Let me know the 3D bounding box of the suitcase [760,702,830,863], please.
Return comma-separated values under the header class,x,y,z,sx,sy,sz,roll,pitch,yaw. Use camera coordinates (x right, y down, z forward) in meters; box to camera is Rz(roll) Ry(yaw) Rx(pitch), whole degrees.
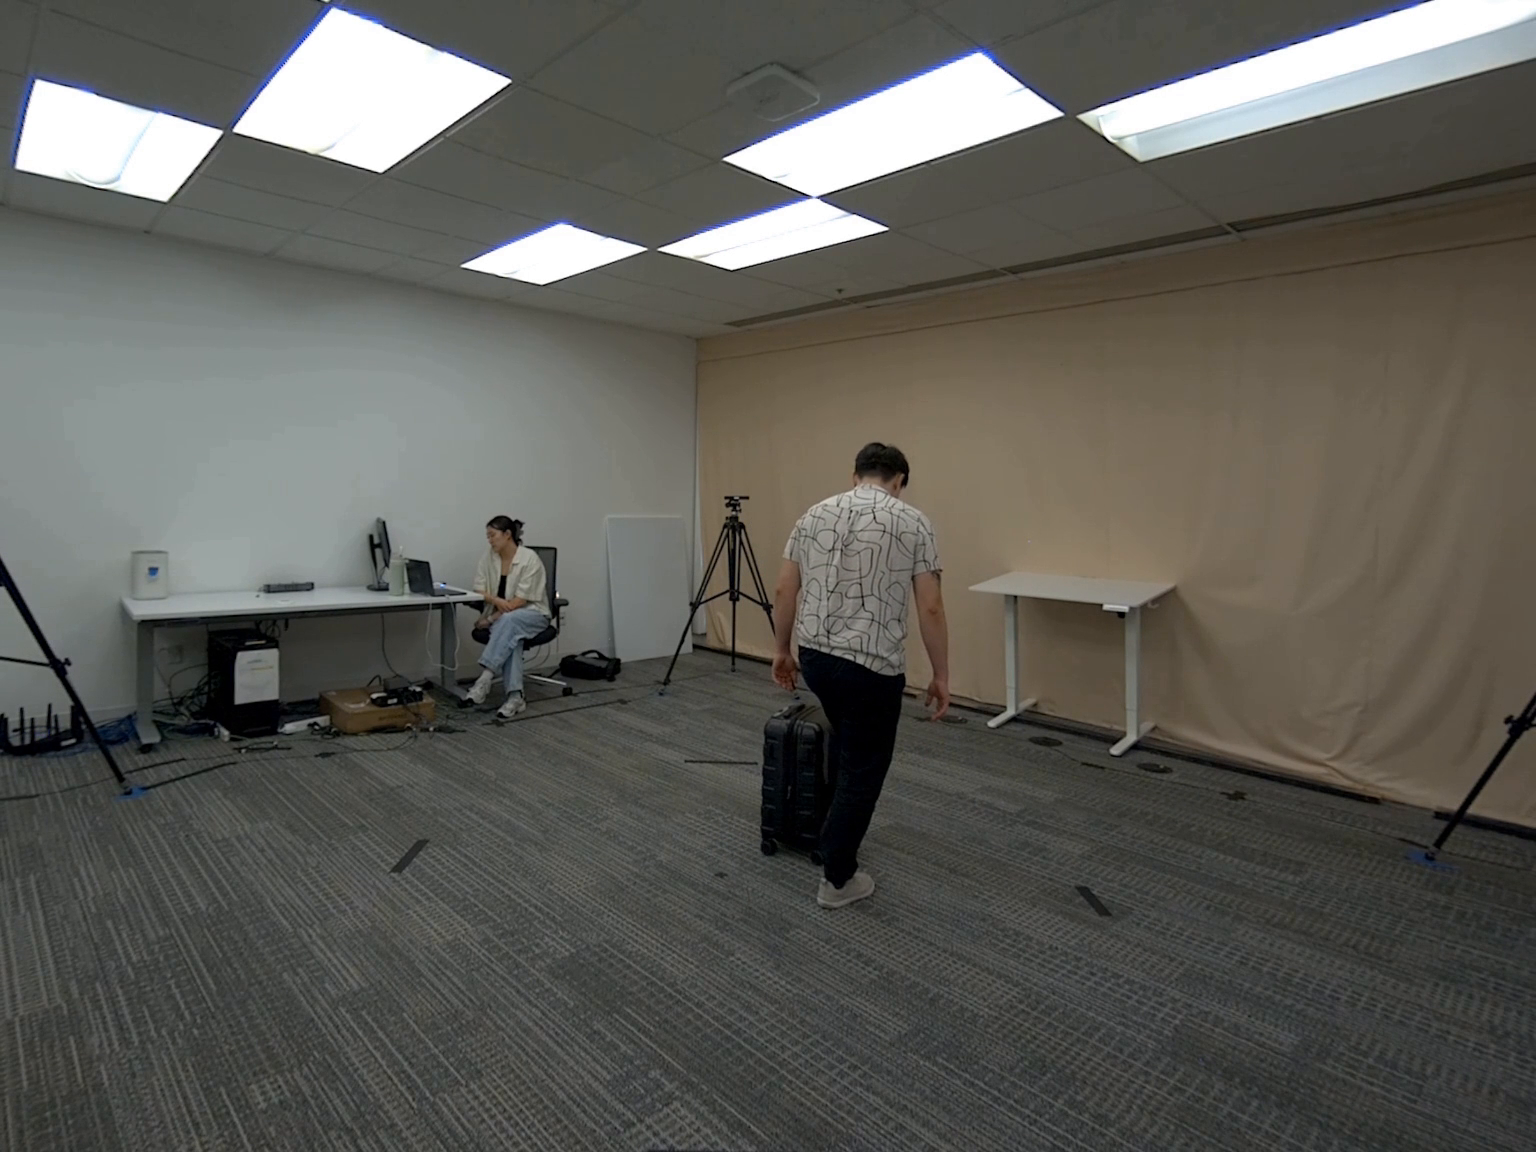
class,x,y,z,sx,sy,sz,roll,pitch,yaw
suitcase,0.132,0.806,3.396,0.252,0.549,0.369,2,2,21
